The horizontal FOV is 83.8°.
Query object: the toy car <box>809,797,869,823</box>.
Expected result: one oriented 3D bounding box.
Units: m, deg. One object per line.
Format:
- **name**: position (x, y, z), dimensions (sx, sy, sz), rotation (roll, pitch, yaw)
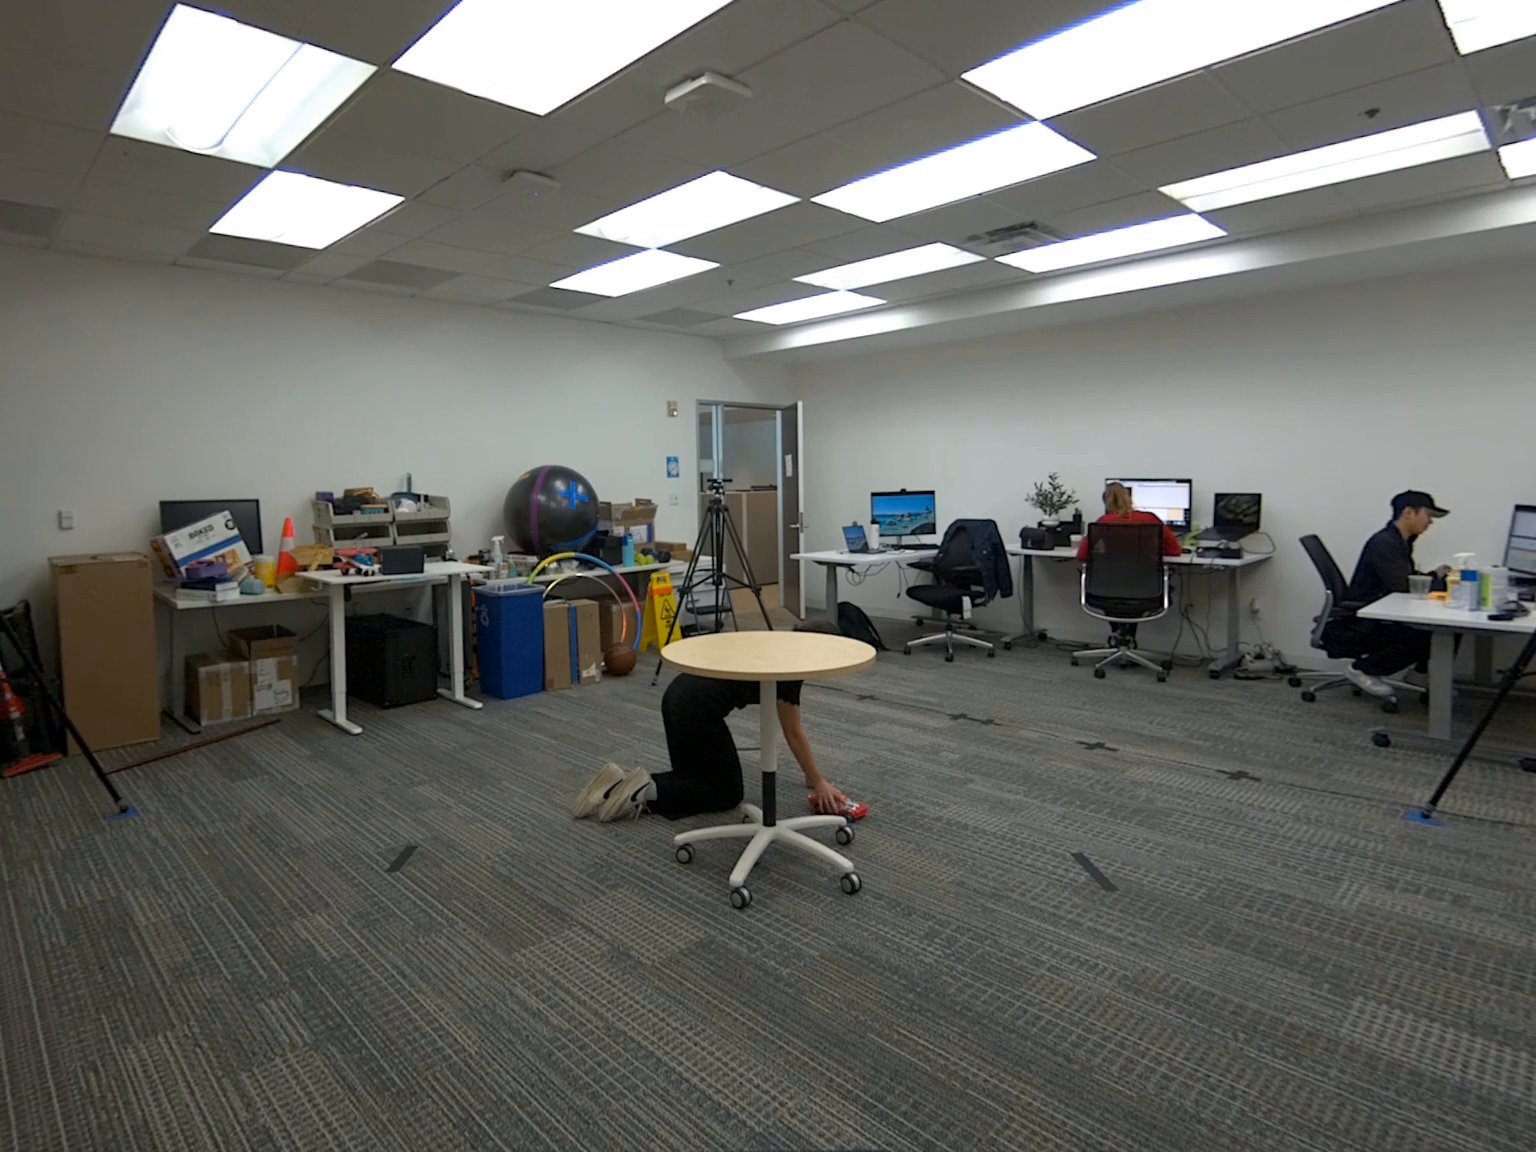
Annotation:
- **toy car**: position (0.288, 0.961, 3.564), dimensions (0.263, 0.082, 0.127), rotation (15, 15, 38)
